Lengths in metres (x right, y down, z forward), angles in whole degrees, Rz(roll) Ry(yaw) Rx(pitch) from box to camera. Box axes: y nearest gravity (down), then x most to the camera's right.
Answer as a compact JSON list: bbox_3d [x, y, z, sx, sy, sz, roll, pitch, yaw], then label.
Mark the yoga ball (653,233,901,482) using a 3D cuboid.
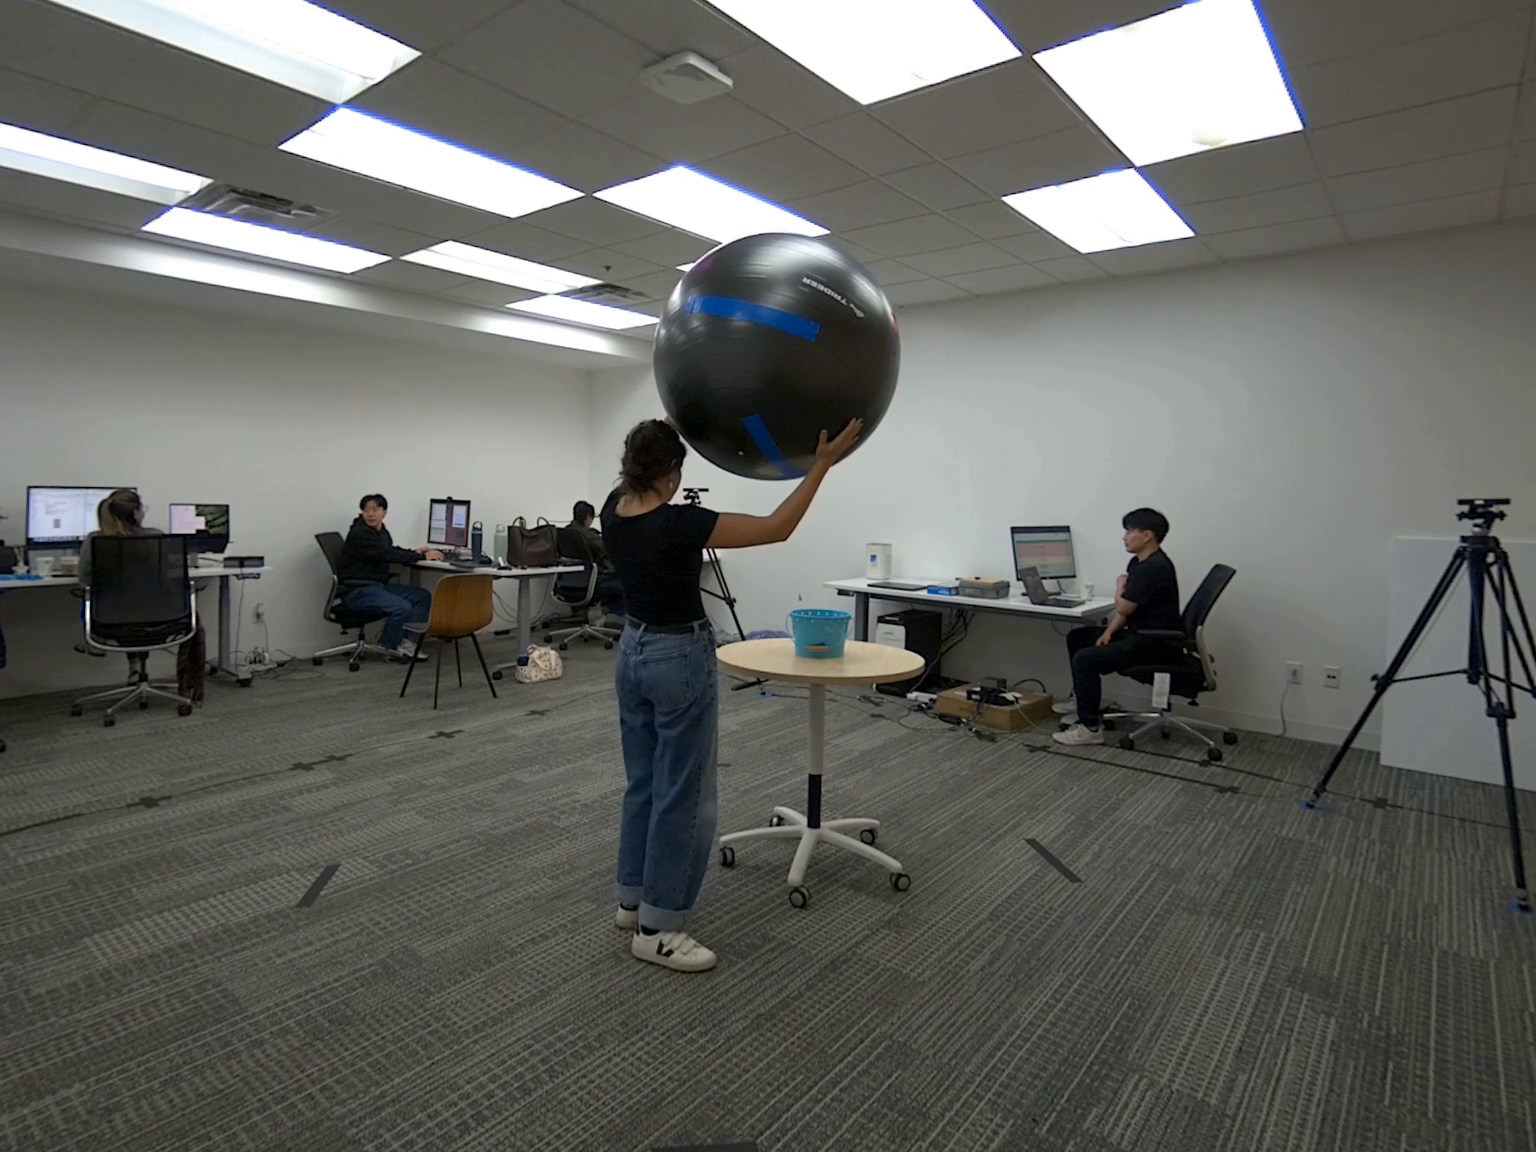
[{"bbox_3d":[0.015,-0.670,2.643,0.757,0.756,0.762,1,4,-2],"label":"yoga ball"}]
